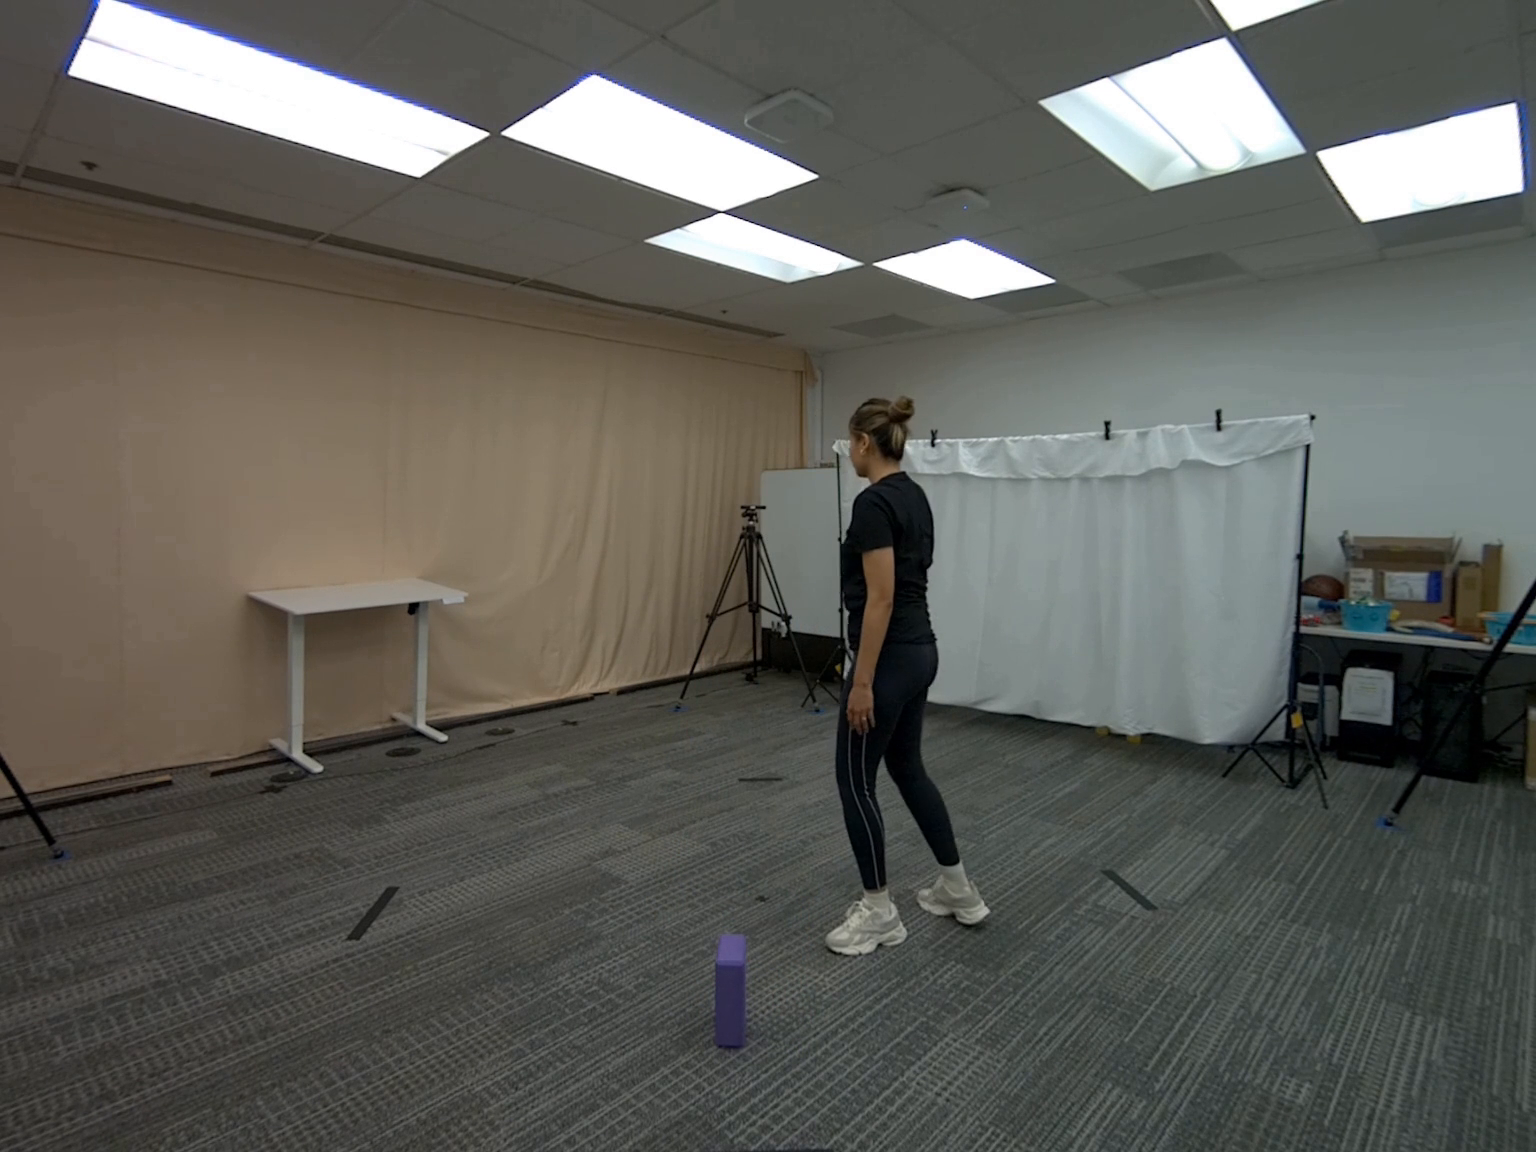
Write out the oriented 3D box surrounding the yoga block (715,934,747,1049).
[{"bbox_3d":[-0.097,1.096,2.217,0.077,0.229,0.148,1,3,3],"label":"yoga block"}]
